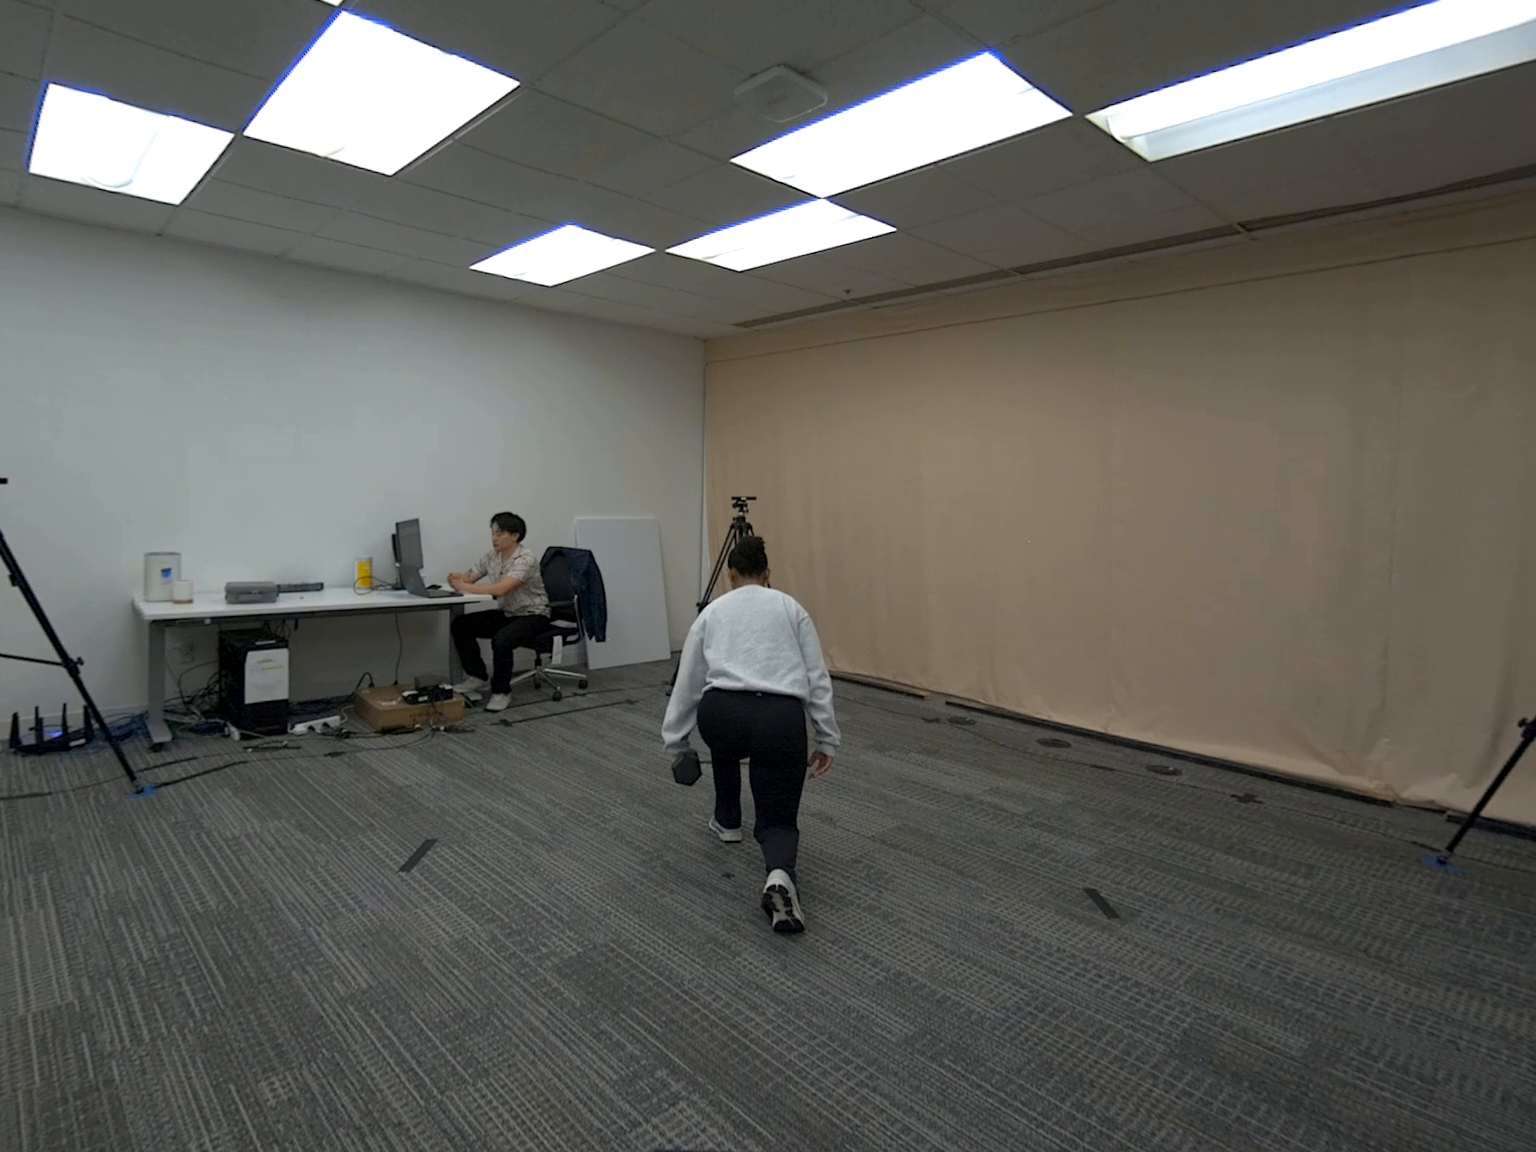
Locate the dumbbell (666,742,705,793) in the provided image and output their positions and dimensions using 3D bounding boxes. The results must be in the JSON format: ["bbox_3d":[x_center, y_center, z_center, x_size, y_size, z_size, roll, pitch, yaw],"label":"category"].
[{"bbox_3d":[-0.326,0.750,3.336,0.108,0.123,0.293,-15,-3,-3],"label":"dumbbell"}]
